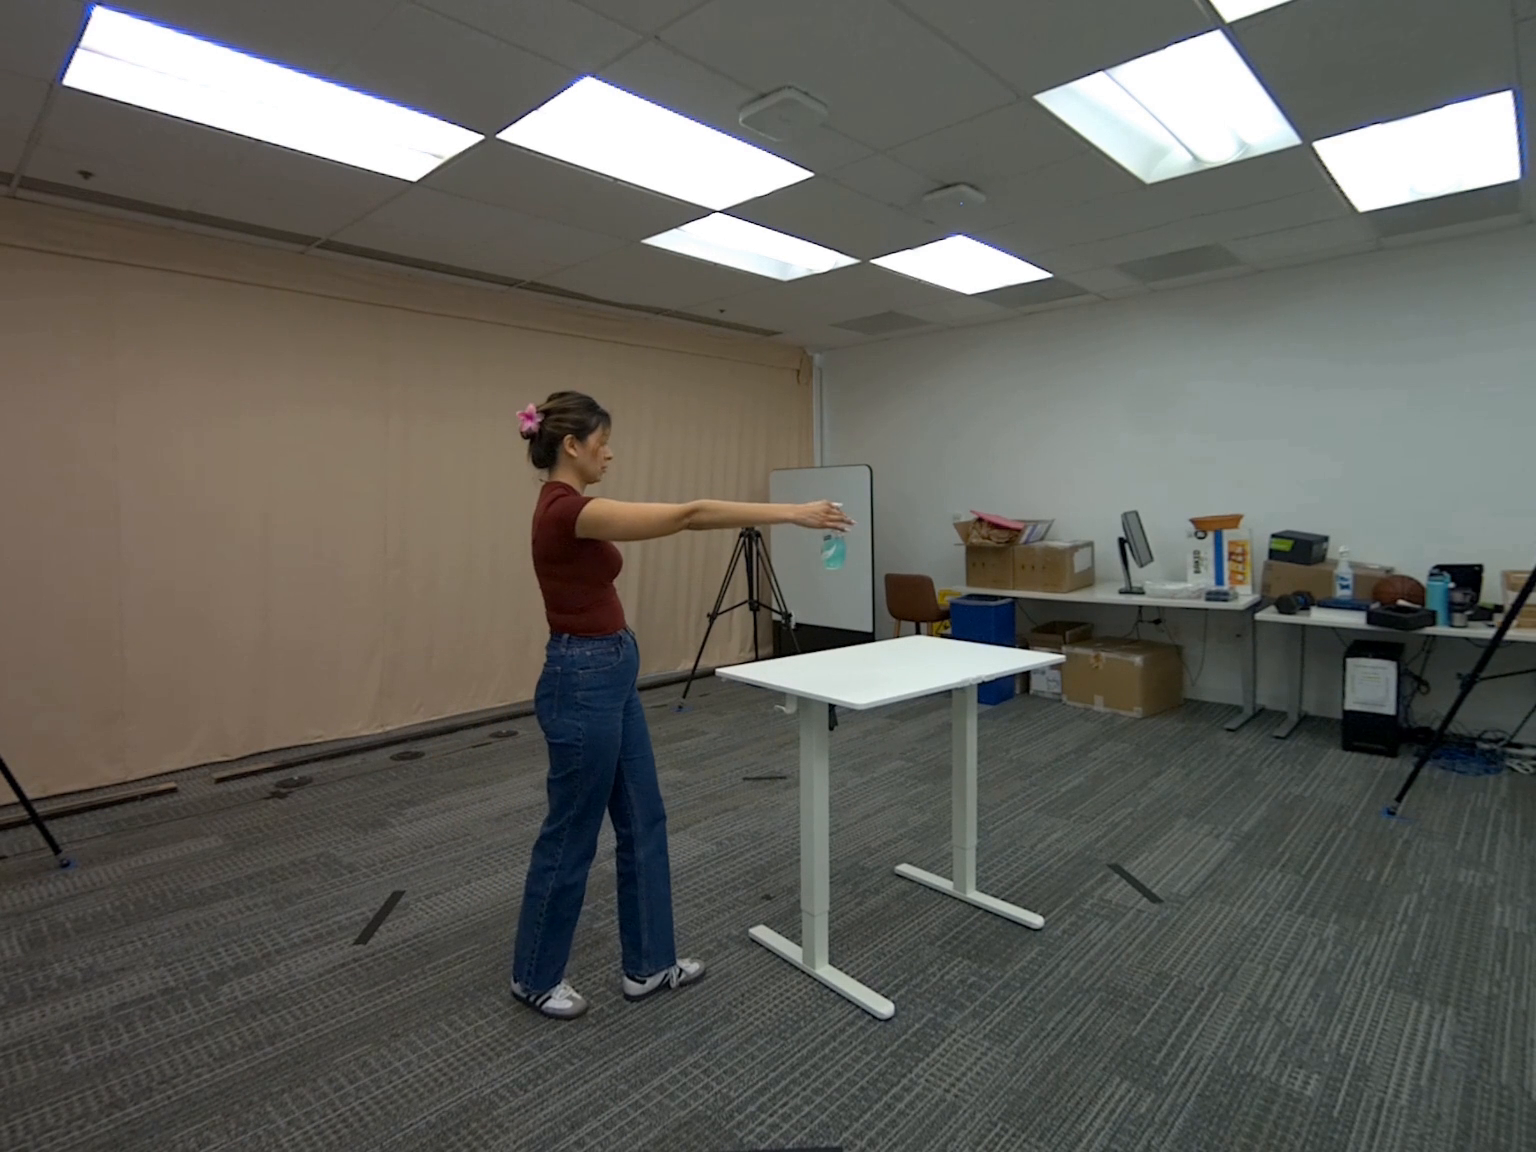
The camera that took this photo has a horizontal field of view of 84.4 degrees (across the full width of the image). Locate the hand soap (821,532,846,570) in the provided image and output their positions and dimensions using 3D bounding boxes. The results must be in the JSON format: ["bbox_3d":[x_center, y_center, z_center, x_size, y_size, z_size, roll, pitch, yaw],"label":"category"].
[{"bbox_3d":[0.172,-0.102,2.158,0.042,0.168,0.087,1,-3,-30],"label":"hand soap"}]
